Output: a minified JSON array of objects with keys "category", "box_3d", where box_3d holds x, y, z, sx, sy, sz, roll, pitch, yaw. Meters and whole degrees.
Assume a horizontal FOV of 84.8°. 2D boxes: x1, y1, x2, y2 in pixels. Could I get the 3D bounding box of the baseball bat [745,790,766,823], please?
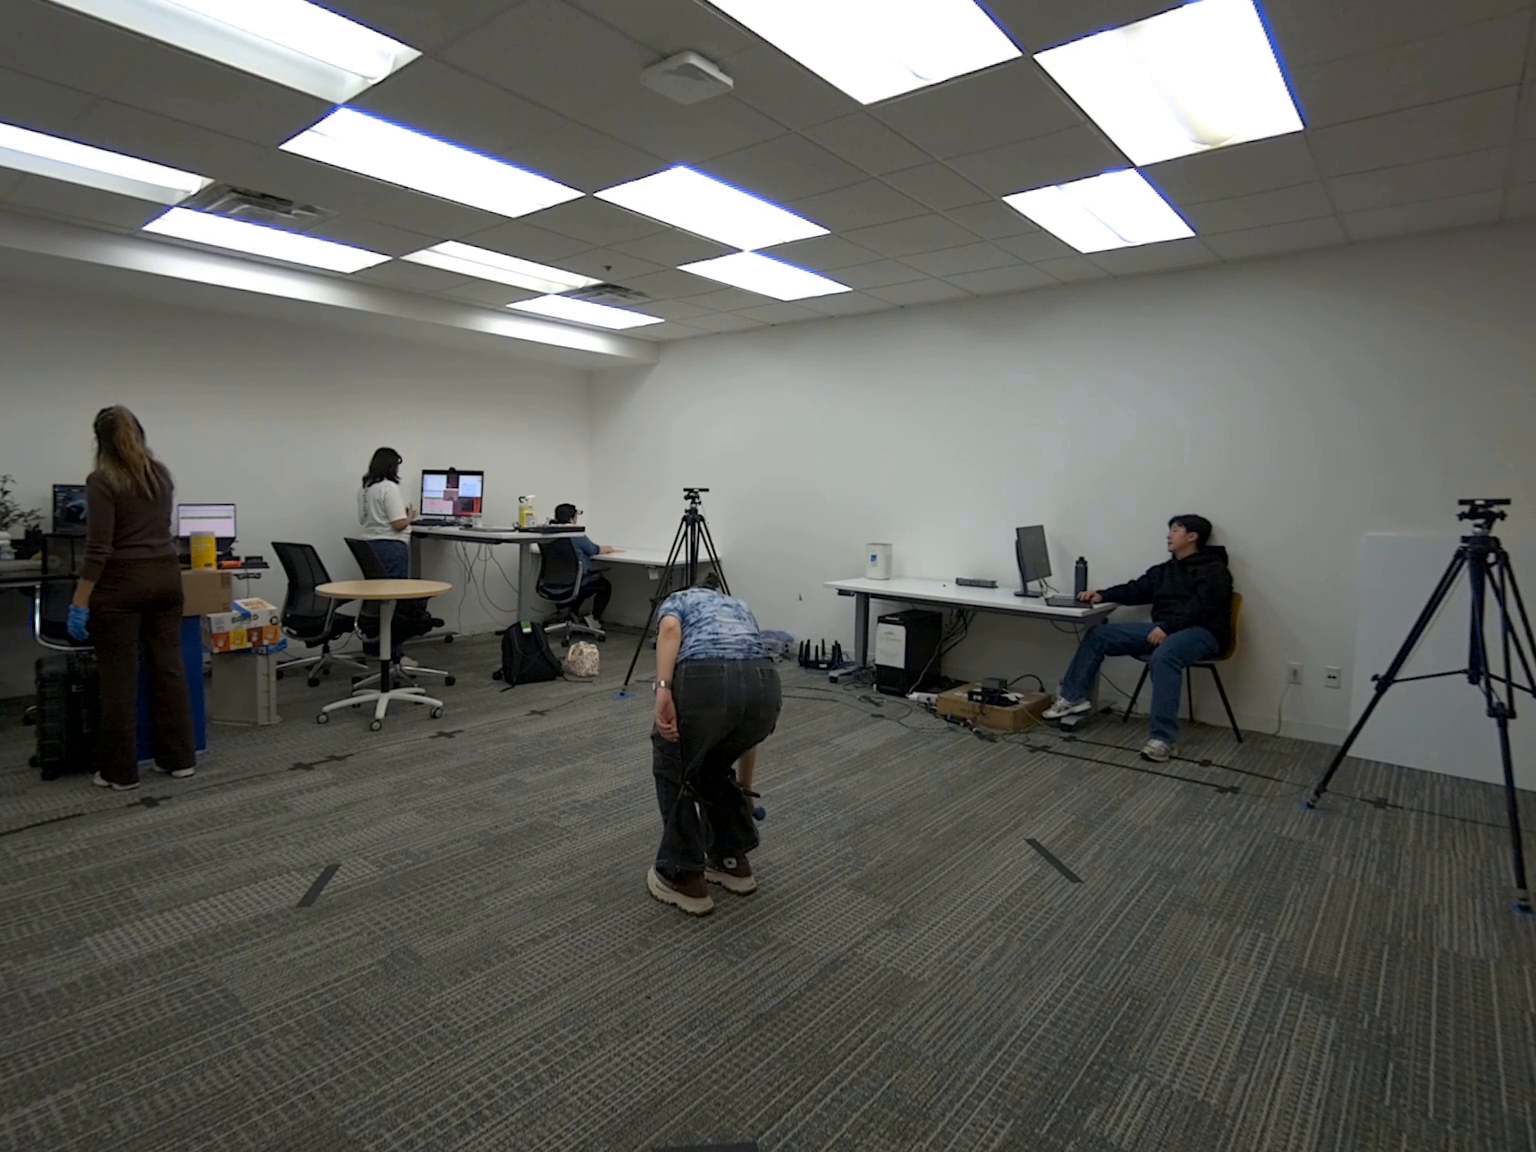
[{"category":"baseball bat","box_3d":[-0.217,0.926,3.259,0.086,0.090,0.553,-2,-12,-40]}]
